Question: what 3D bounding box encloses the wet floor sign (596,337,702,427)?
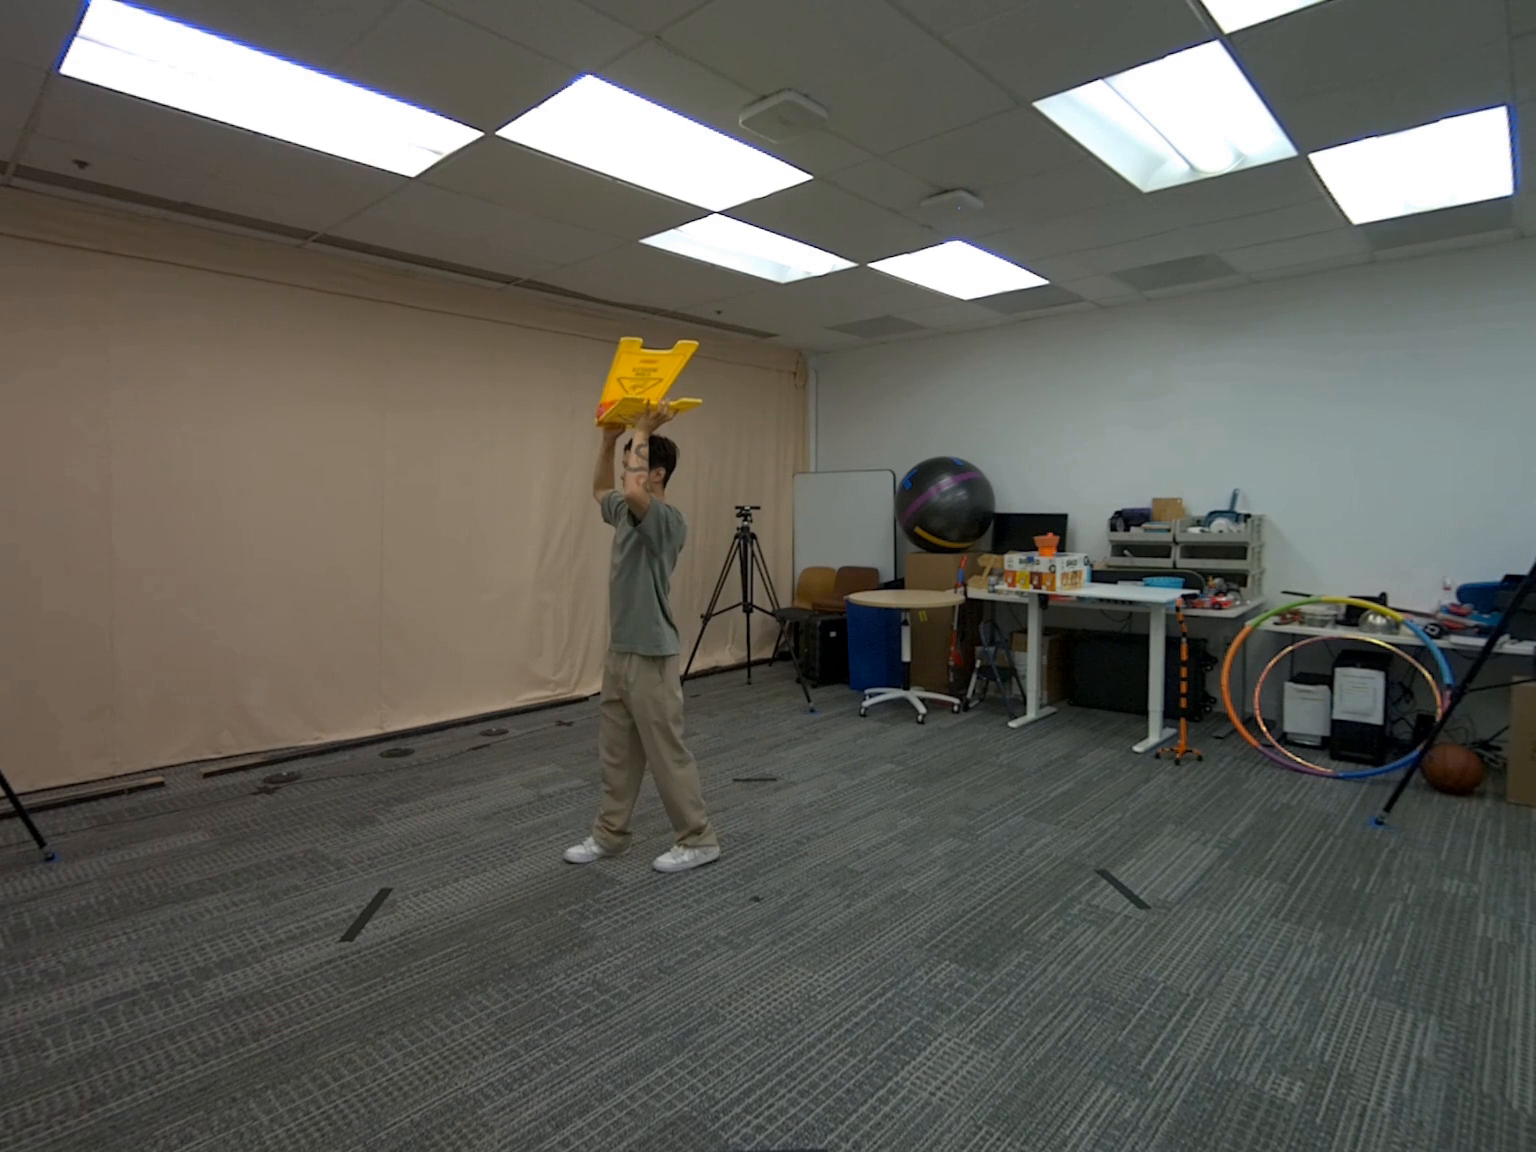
[{"bbox_3d":[-0.485,-0.665,3.173,0.276,0.291,0.659,-3,-5,-26],"label":"wet floor sign"}]
